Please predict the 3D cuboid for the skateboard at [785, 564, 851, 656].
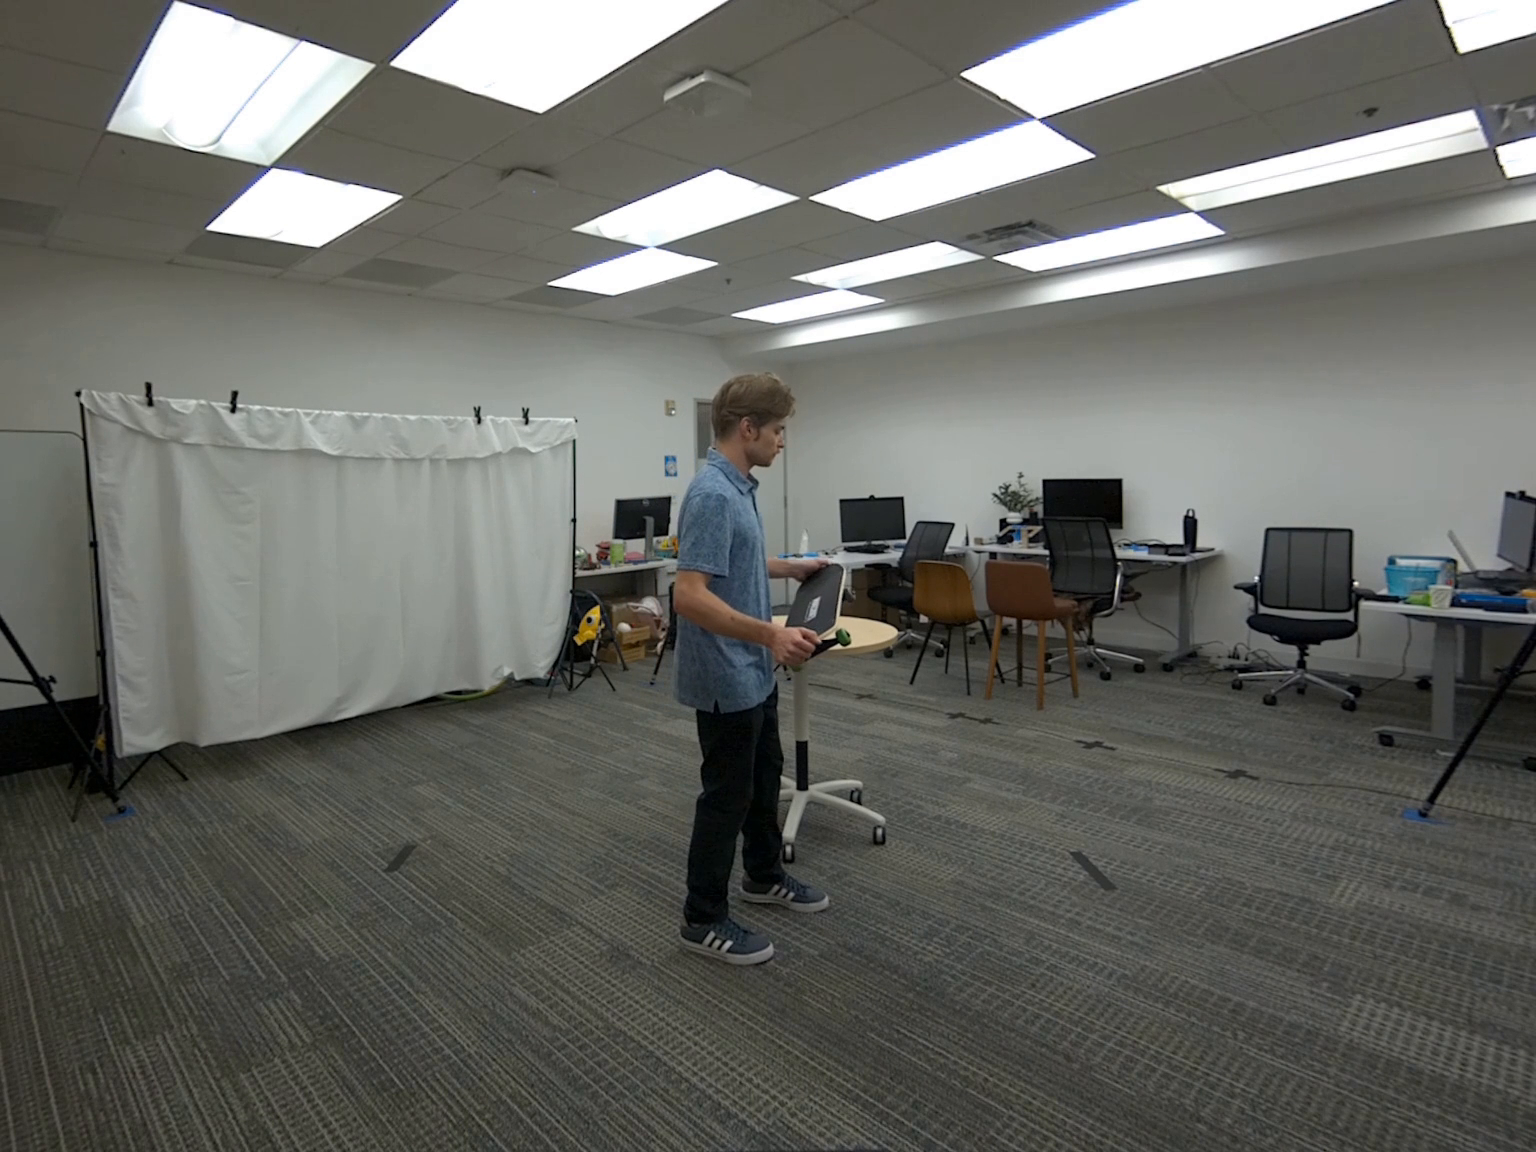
[{"bbox_3d":[0.161,0.125,2.539,0.194,0.109,0.788,-27,9,11],"label":"skateboard"}]
